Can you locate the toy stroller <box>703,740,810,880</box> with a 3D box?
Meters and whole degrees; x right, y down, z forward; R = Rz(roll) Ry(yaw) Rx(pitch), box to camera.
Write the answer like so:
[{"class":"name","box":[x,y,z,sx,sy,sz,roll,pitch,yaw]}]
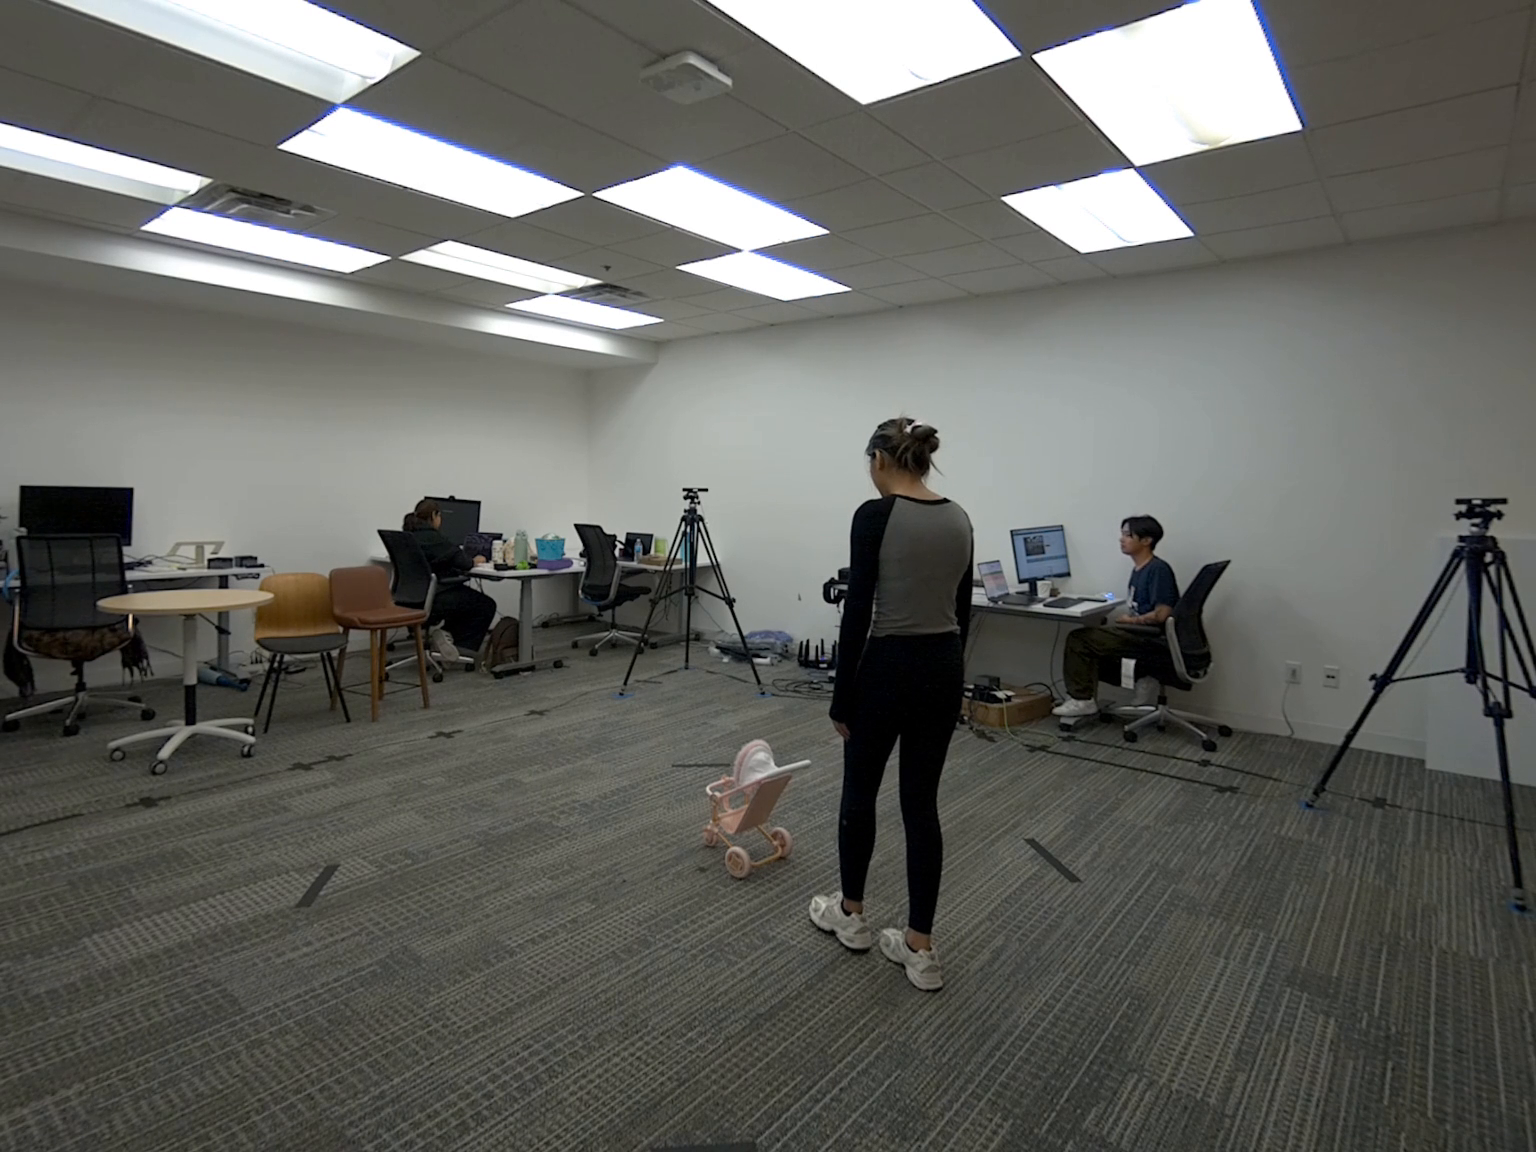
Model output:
[{"class":"toy stroller","box":[-0.081,0.843,3.175,0.273,0.529,0.356,-1,21,-45]}]
